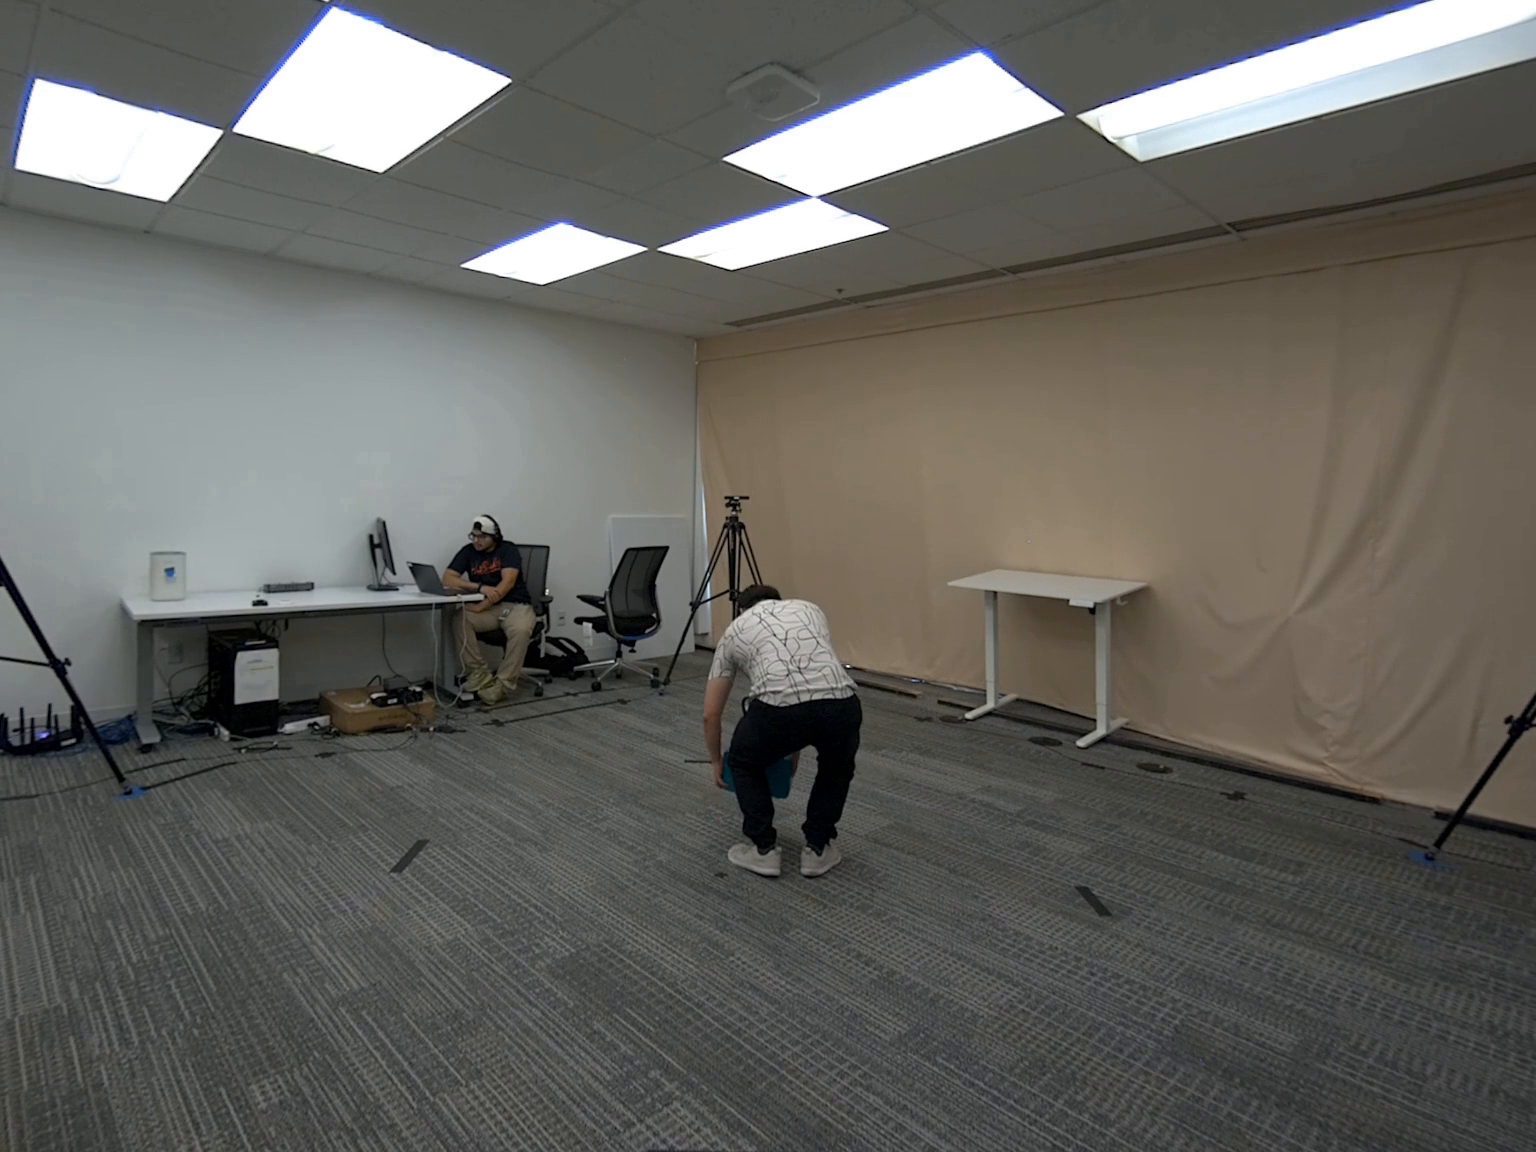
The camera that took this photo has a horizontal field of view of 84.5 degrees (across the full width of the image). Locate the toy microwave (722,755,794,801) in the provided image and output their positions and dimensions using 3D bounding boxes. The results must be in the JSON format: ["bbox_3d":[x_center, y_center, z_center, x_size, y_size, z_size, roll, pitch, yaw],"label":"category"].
[{"bbox_3d":[-0.043,0.797,3.490,0.289,0.183,0.152,5,9,10],"label":"toy microwave"}]
